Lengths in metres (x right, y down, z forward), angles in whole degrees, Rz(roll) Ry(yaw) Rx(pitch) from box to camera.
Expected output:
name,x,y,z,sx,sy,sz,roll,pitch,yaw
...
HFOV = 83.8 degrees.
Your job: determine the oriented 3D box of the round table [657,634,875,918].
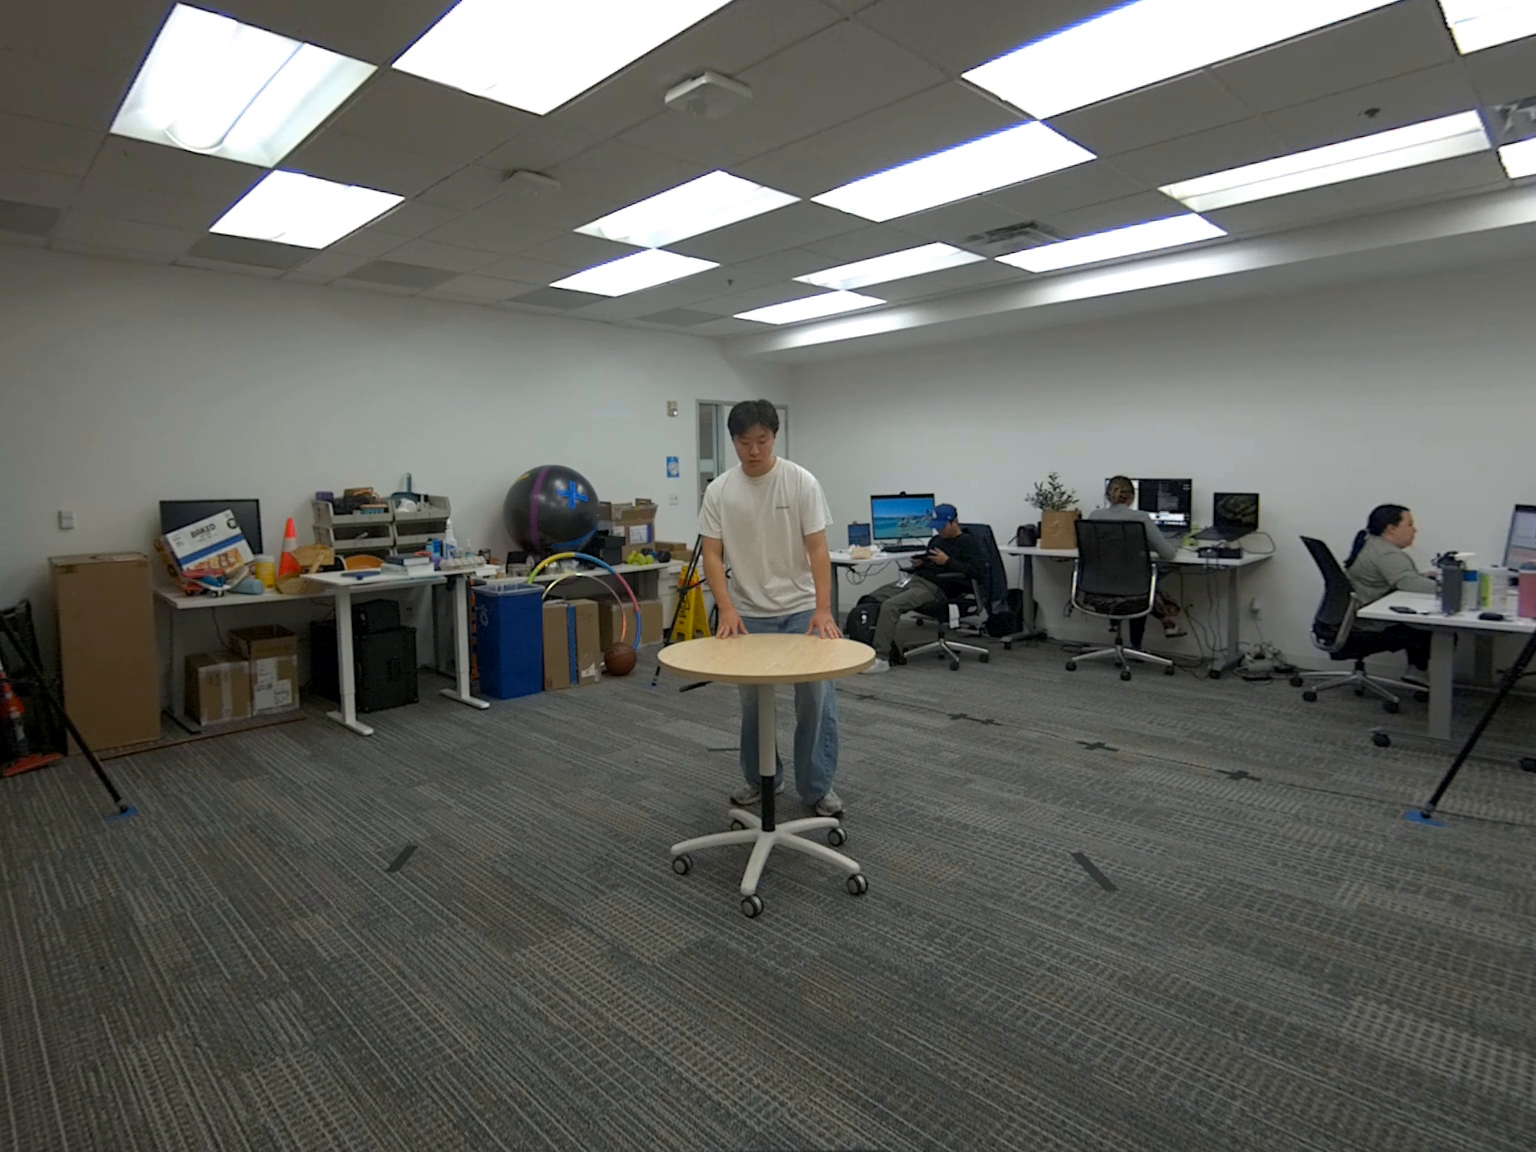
name,x,y,z,sx,sy,sz,roll,pitch,yaw
round table,-0.002,0.666,3.043,0.763,0.791,0.768,-1,4,-2
